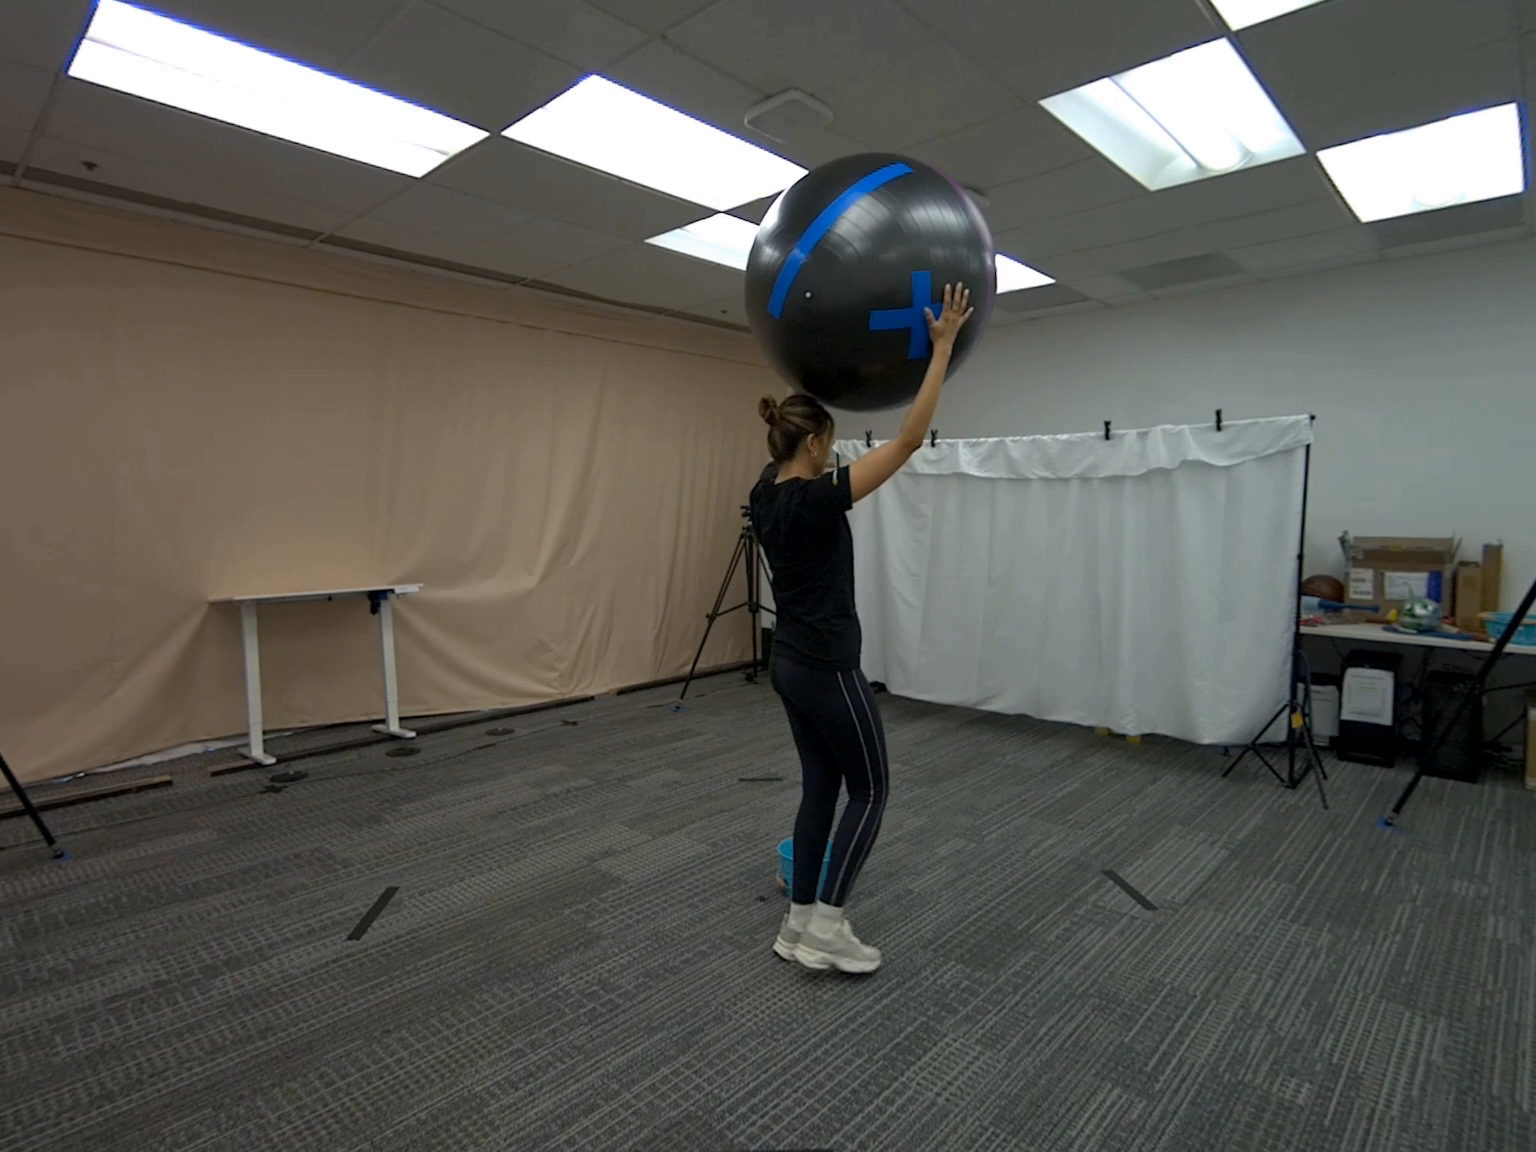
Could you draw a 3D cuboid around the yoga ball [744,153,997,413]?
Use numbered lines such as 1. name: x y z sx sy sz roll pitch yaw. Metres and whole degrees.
1. yoga ball: 0.311 -0.879 2.583 0.757 0.756 0.760 0 4 -2
